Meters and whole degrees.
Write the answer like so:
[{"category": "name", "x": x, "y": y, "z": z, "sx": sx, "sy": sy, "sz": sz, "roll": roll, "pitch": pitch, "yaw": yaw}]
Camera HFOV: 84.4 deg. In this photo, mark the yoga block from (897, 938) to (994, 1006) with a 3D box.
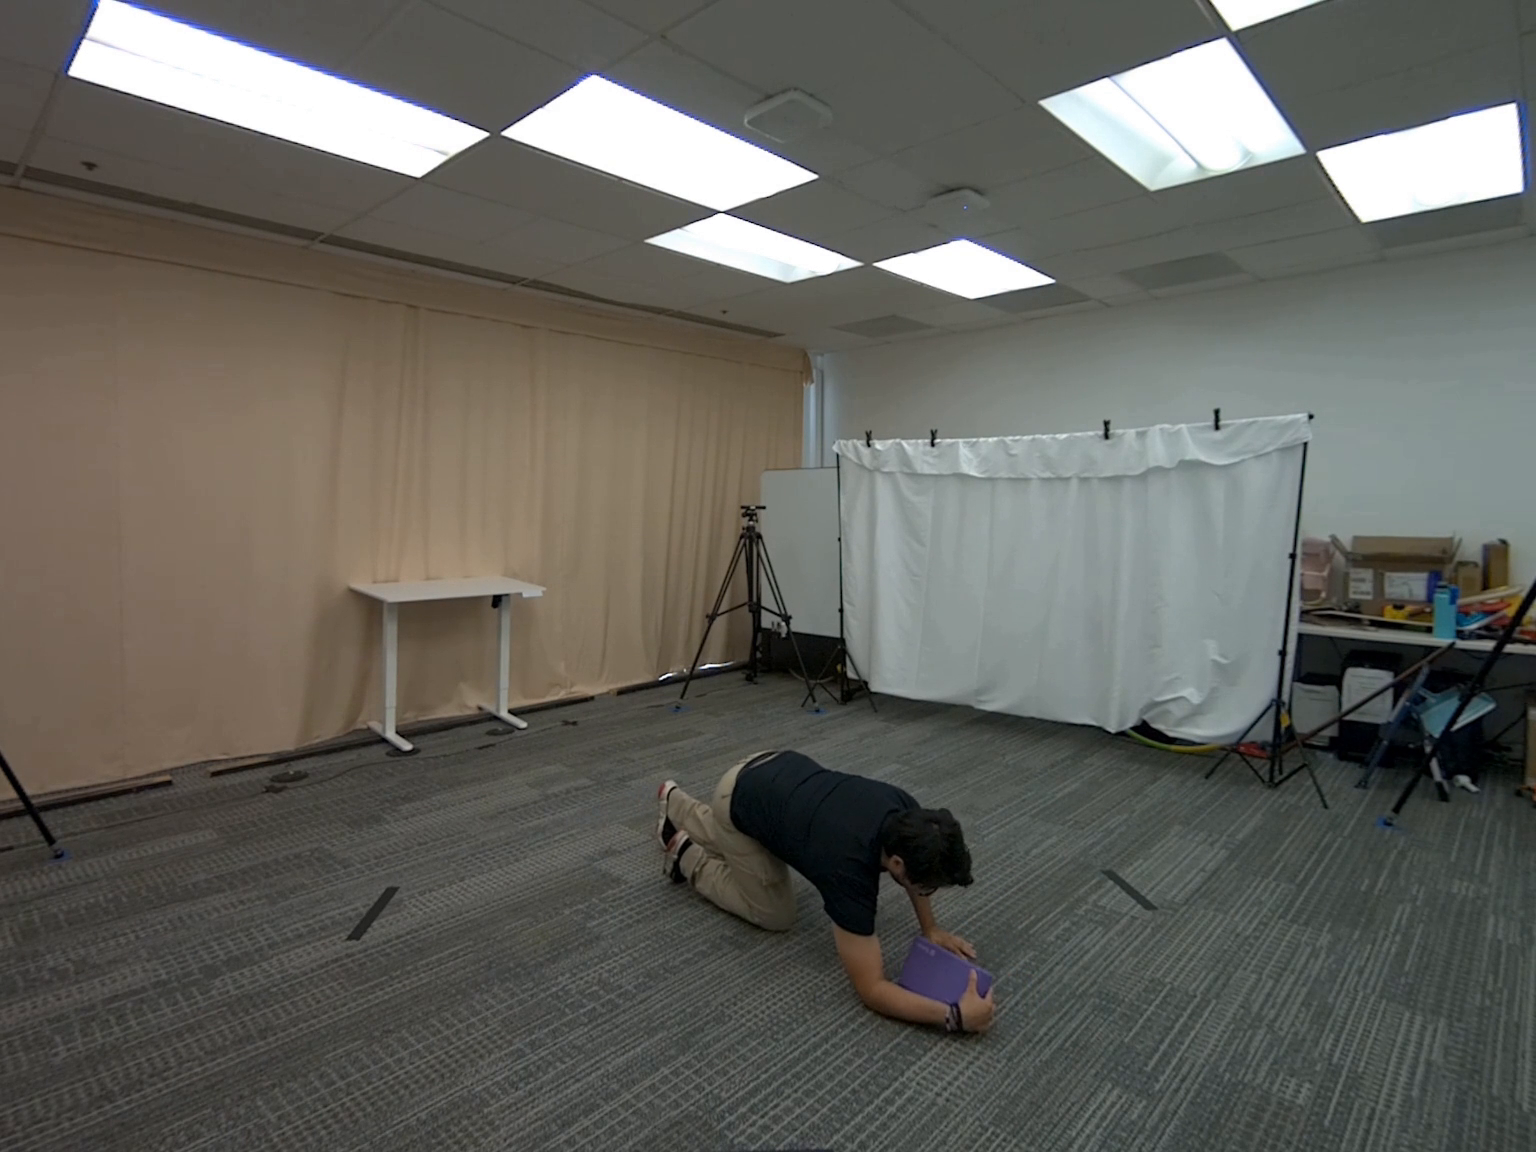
[{"category": "yoga block", "x": 0.495, "y": 1.127, "z": 2.320, "sx": 0.074, "sy": 0.149, "sz": 0.237, "roll": 35, "pitch": -18, "yaw": -33}]
